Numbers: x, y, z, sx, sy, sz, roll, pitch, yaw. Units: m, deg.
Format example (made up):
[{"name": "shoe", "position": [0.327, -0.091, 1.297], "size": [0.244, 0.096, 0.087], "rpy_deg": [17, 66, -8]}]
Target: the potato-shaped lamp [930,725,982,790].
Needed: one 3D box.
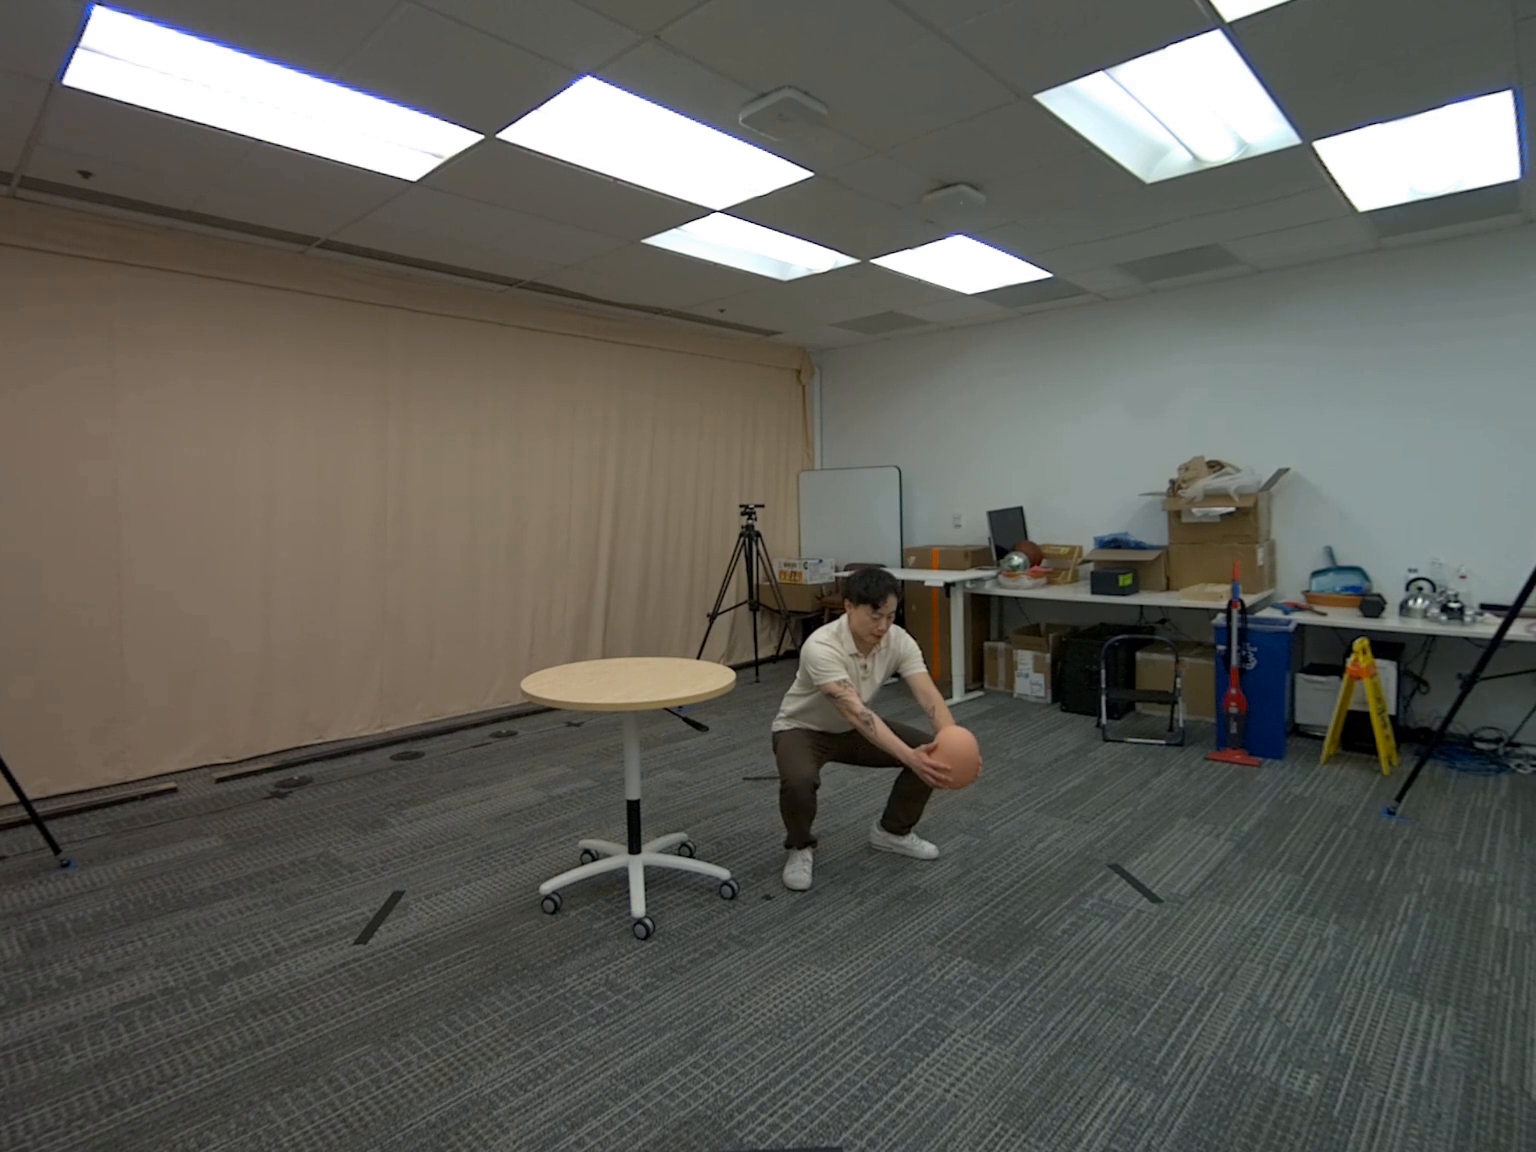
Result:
[{"name": "potato-shaped lamp", "position": [0.591, 0.579, 2.718], "size": [0.161, 0.197, 0.176], "rpy_deg": [-2, 14, -23]}]
